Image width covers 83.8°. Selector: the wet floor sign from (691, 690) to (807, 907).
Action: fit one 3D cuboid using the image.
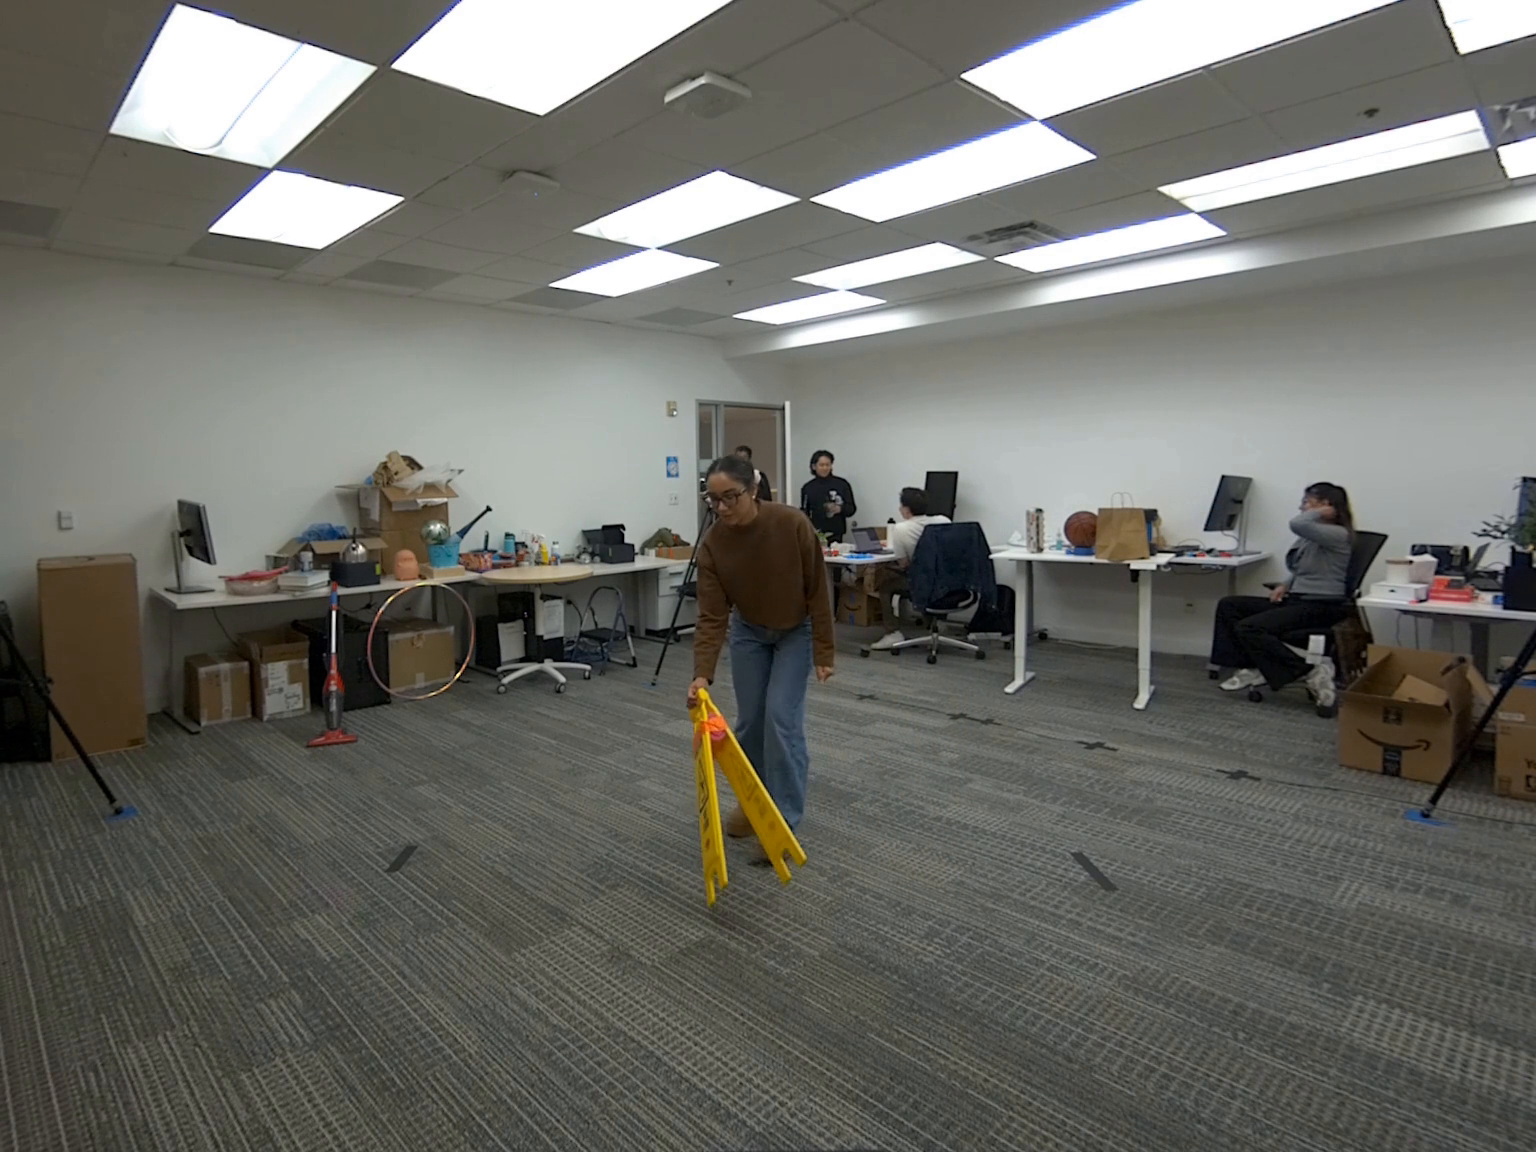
[{"bbox_3d":[-0.142,0.696,2.839,0.285,0.667,0.278,-10,-32,-21],"label":"wet floor sign"}]
